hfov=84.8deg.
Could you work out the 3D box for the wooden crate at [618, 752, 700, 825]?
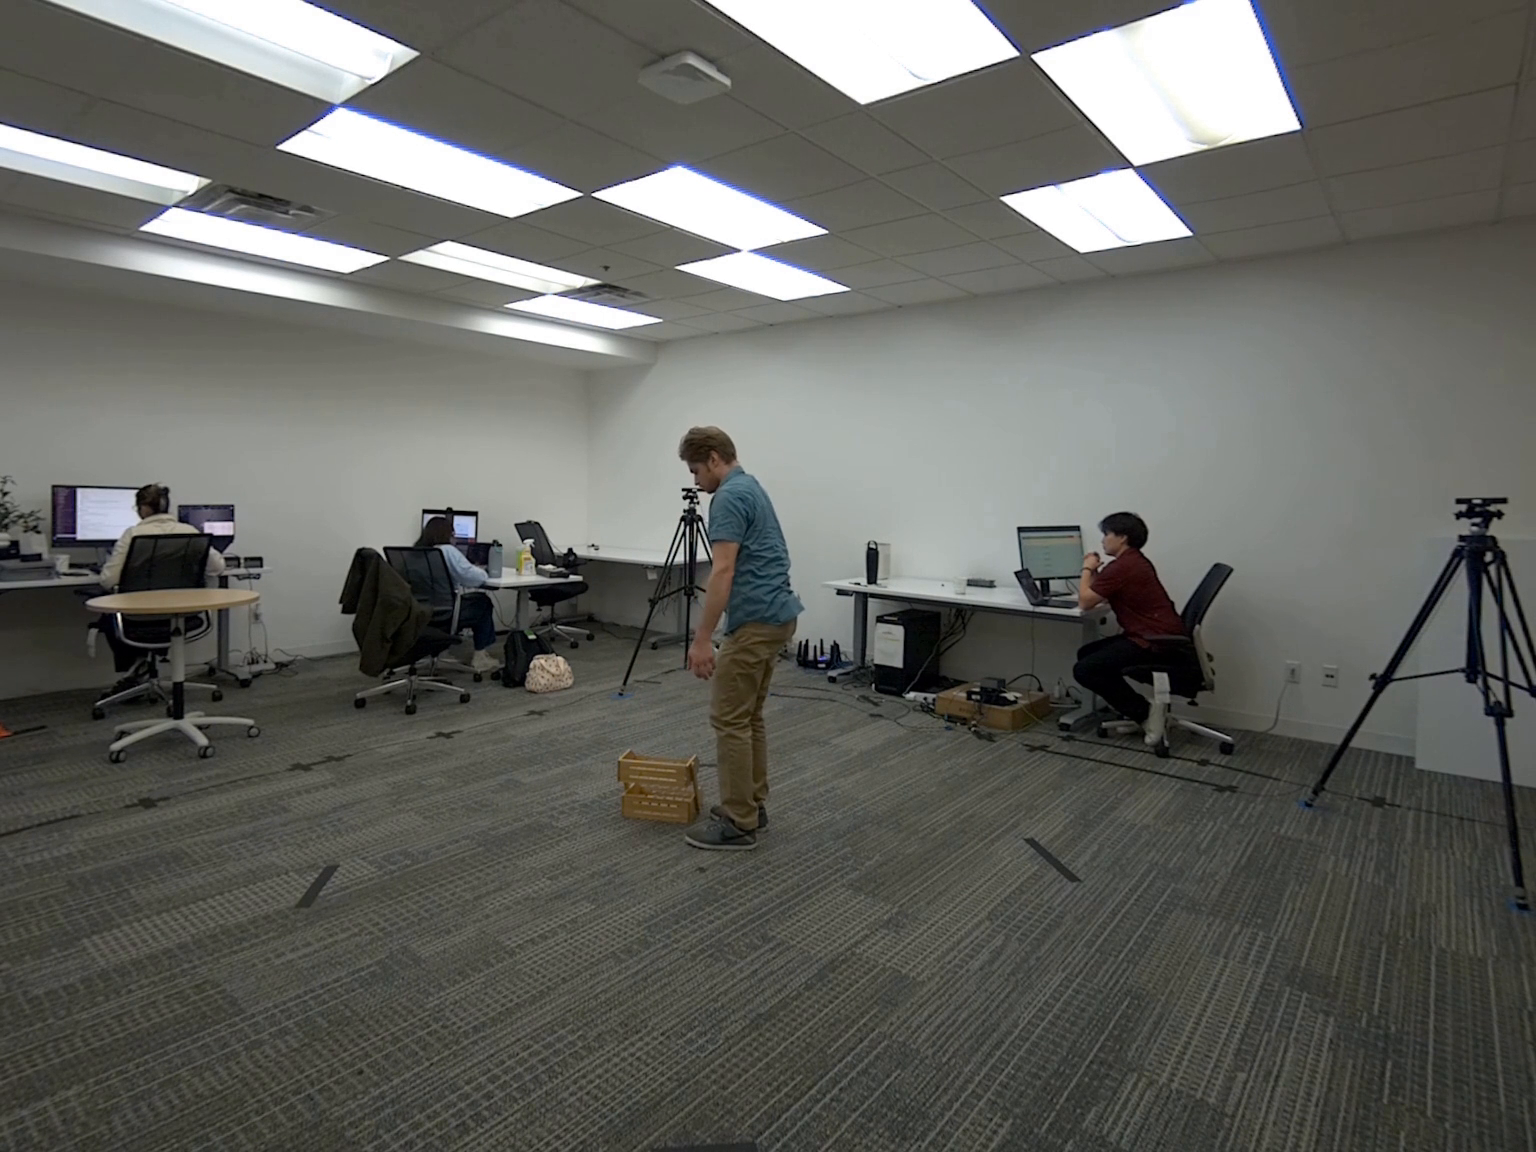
[{"bbox_3d":[-0.469,0.880,3.663,0.328,0.272,0.300,2,5,10],"label":"wooden crate"}]
